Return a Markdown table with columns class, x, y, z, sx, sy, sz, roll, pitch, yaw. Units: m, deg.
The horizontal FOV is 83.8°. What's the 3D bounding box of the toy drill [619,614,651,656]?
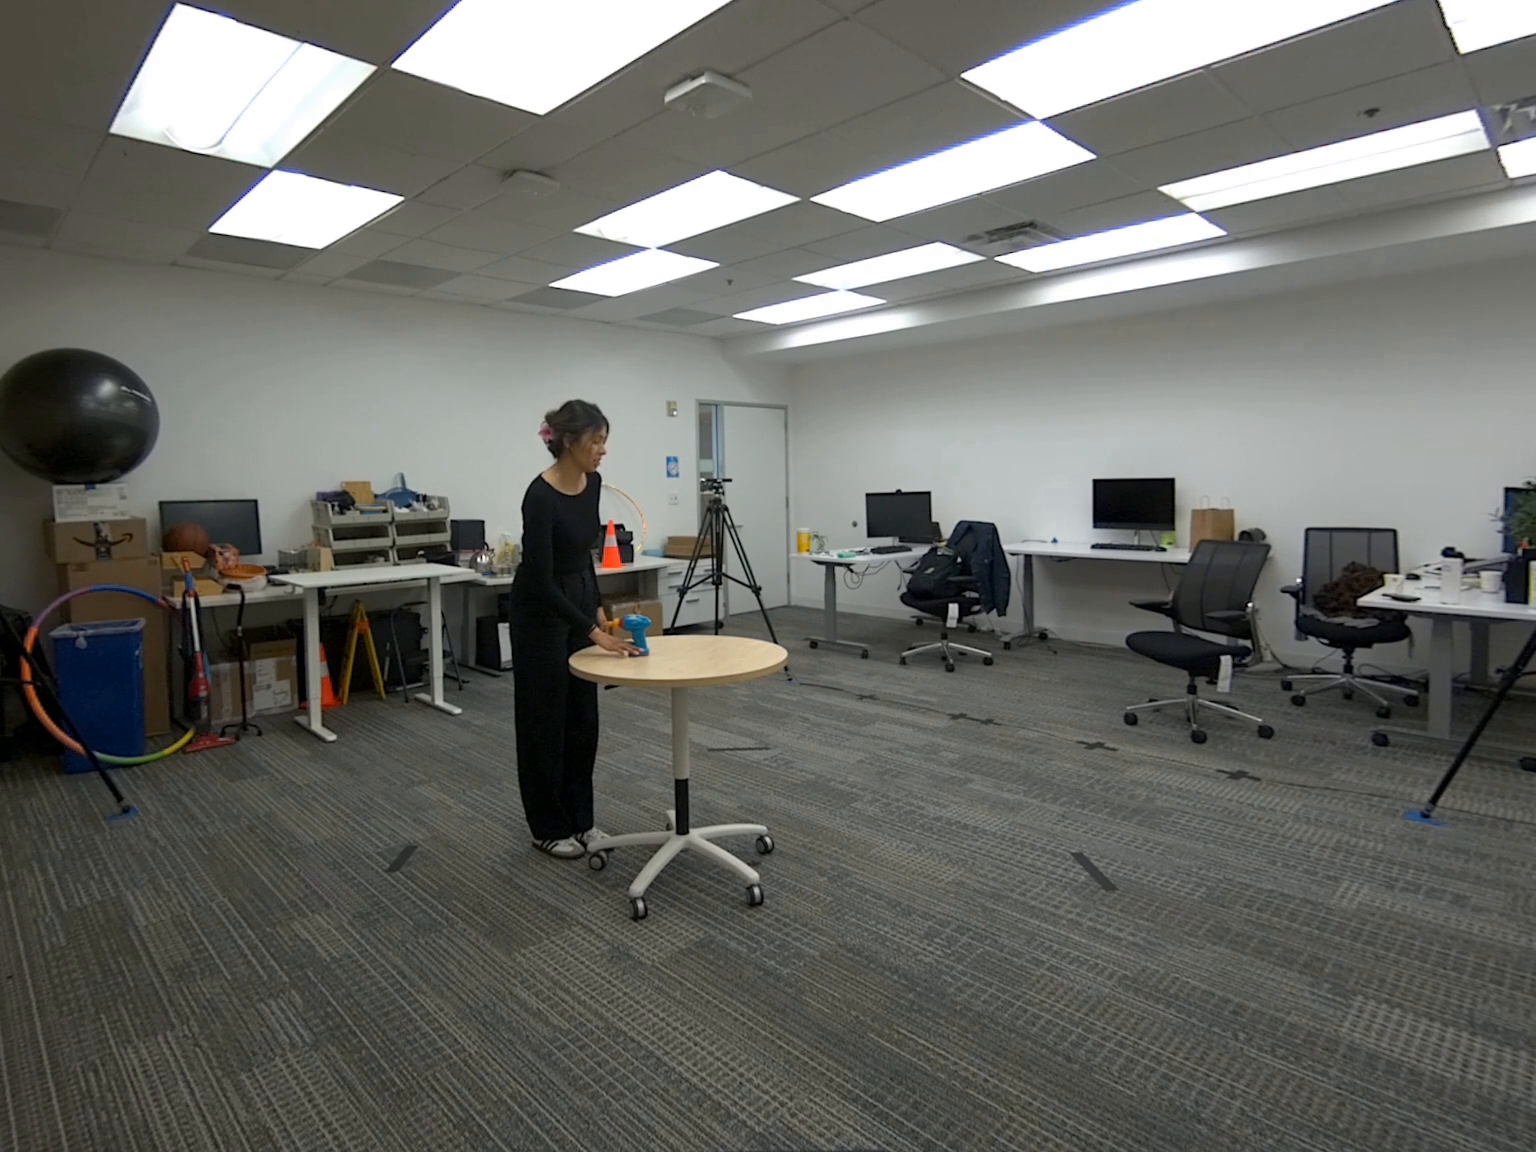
| class | x | y | z | sx | sy | sz | roll | pitch | yaw |
| --- | --- | --- | --- | --- | --- | --- | --- | --- | --- |
| toy drill | -0.495 | 0.206 | 3.015 | 0.169 | 0.146 | 0.061 | -3 | 2 | -2 |
